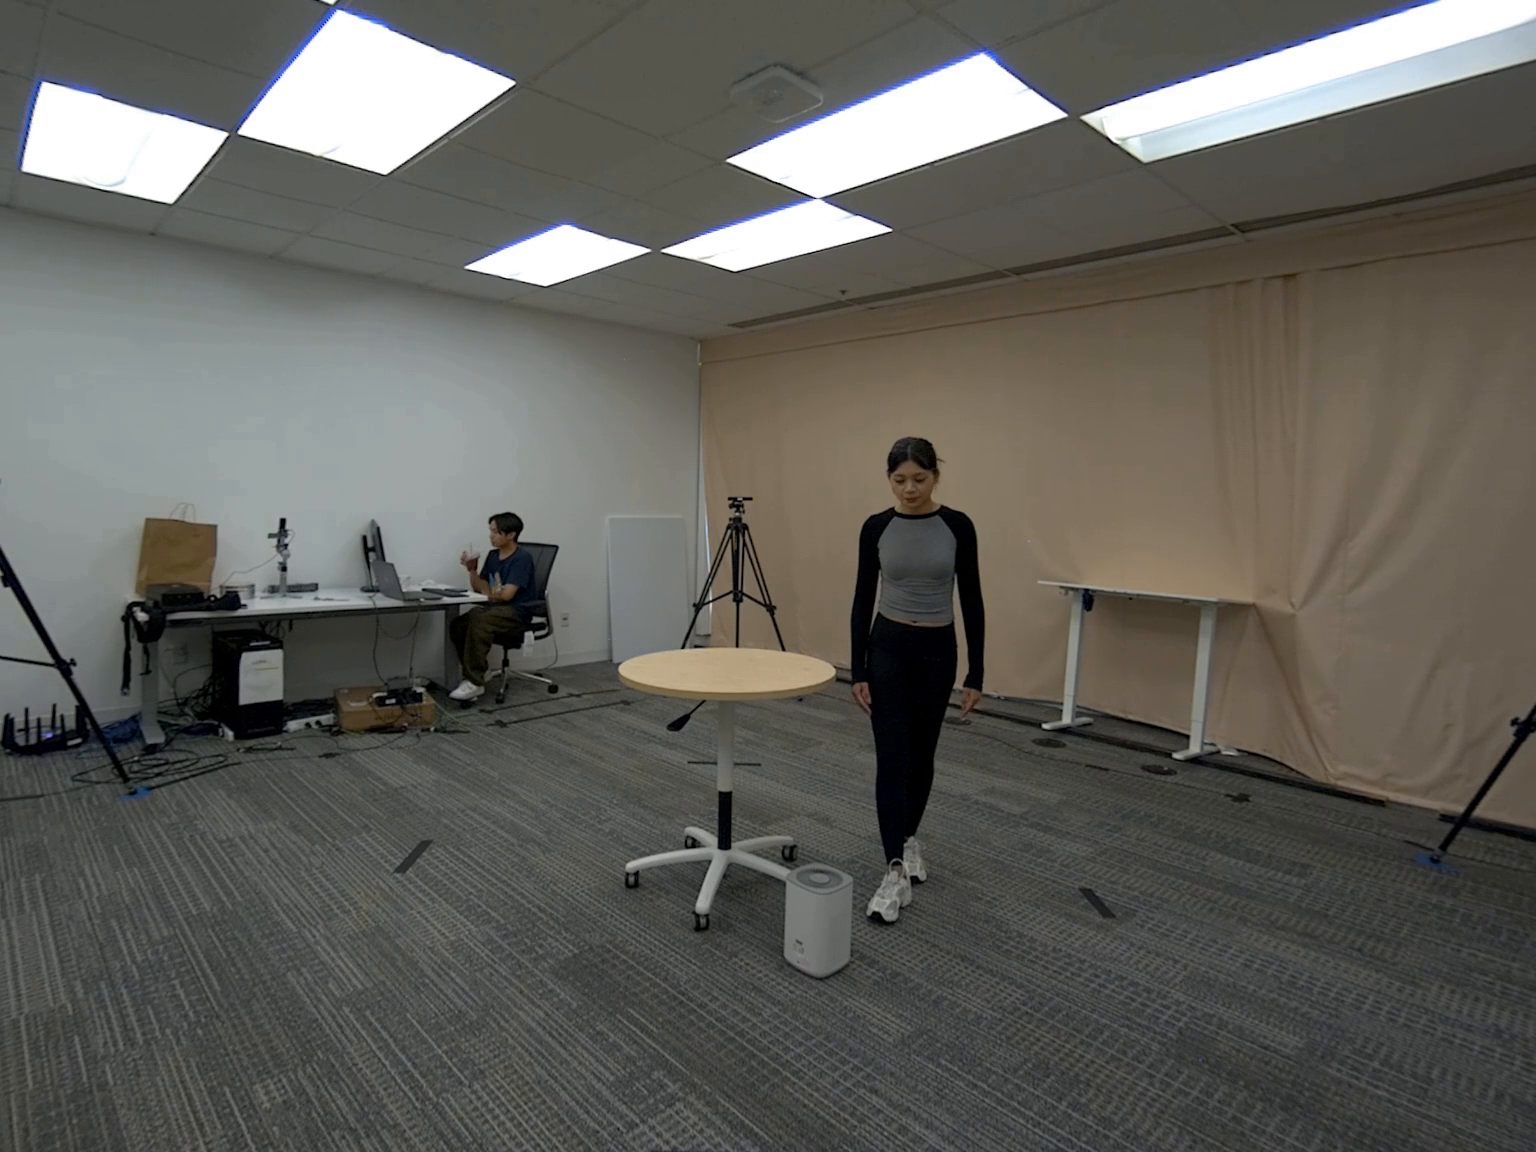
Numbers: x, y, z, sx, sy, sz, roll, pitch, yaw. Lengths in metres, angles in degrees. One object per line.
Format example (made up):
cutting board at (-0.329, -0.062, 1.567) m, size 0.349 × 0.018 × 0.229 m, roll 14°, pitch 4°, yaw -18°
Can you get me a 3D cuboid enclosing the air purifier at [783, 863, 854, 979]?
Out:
air purifier at (0.146, 1.035, 2.524) m, size 0.175 × 0.265 × 0.168 m, roll 5°, pitch 5°, yaw 42°
